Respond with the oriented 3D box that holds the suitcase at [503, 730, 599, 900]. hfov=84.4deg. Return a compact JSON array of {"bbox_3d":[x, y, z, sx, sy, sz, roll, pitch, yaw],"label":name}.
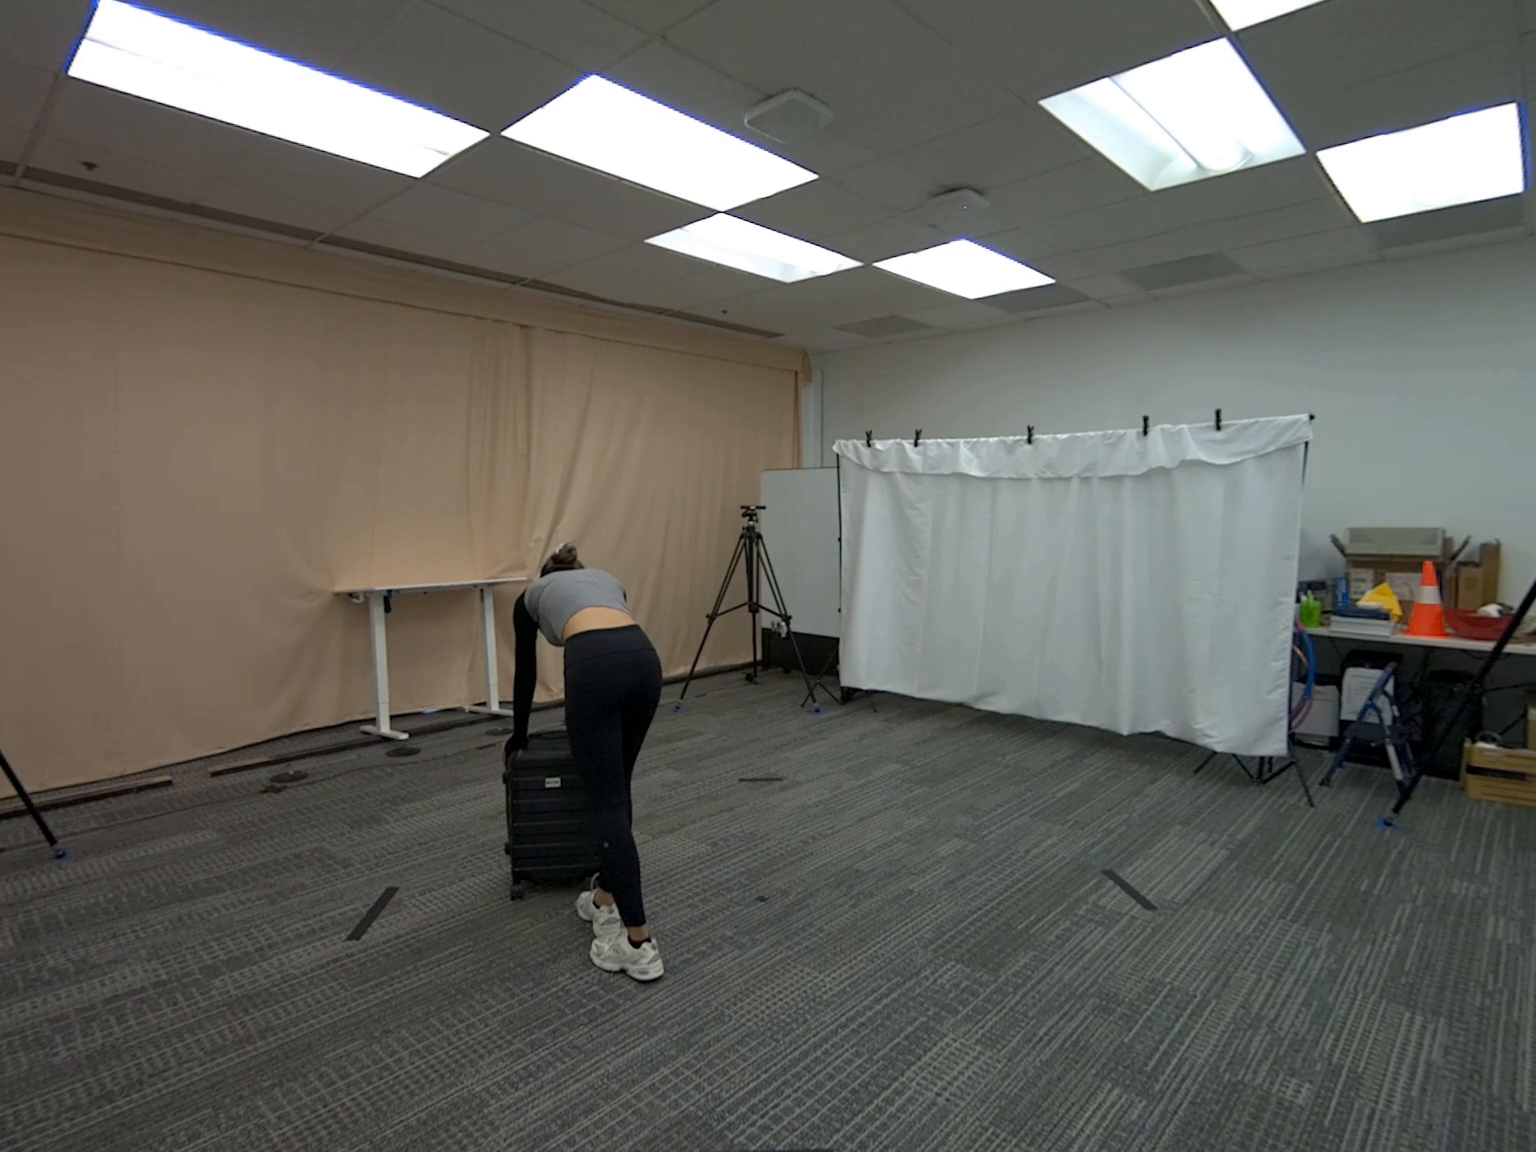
[{"bbox_3d":[-0.785,0.861,3.139,0.372,0.549,0.251,-1,1,-10],"label":"suitcase"}]
